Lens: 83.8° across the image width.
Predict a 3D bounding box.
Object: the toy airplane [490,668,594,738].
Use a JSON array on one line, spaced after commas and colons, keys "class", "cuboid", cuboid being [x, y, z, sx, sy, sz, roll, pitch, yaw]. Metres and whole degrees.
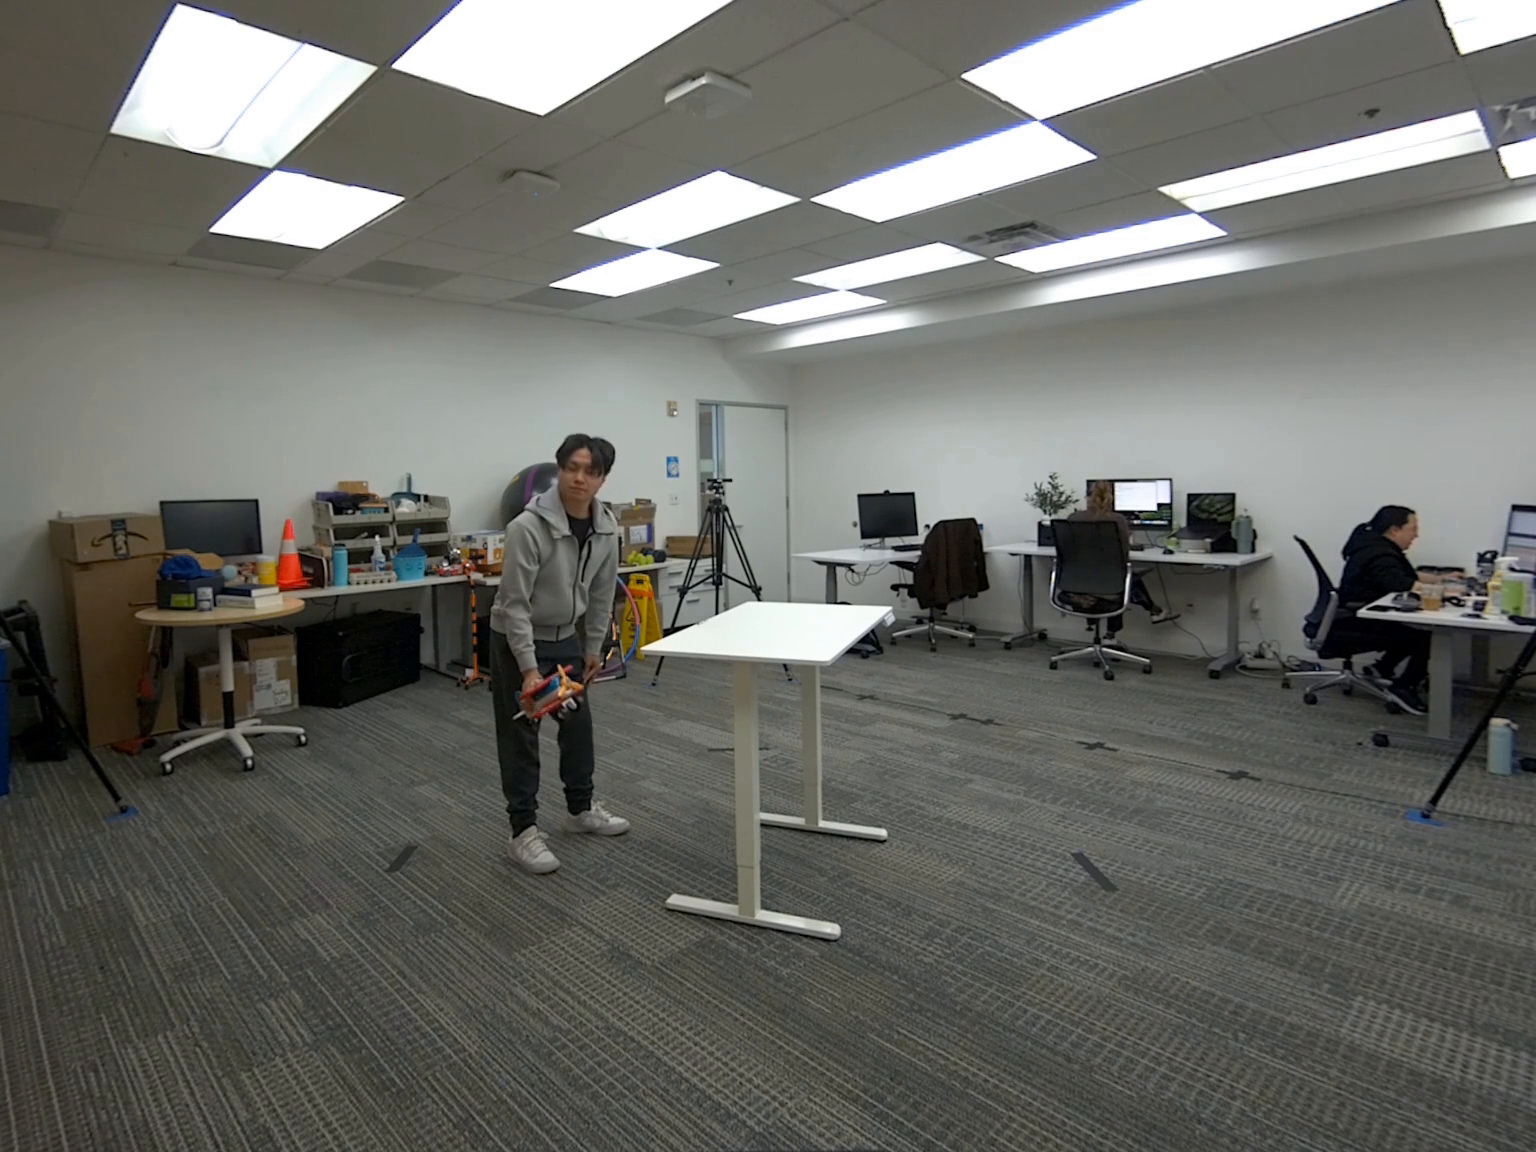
[{"class": "toy airplane", "cuboid": [-0.765, 0.434, 2.920, 0.259, 0.156, 0.252, -19, 6, 0]}]
